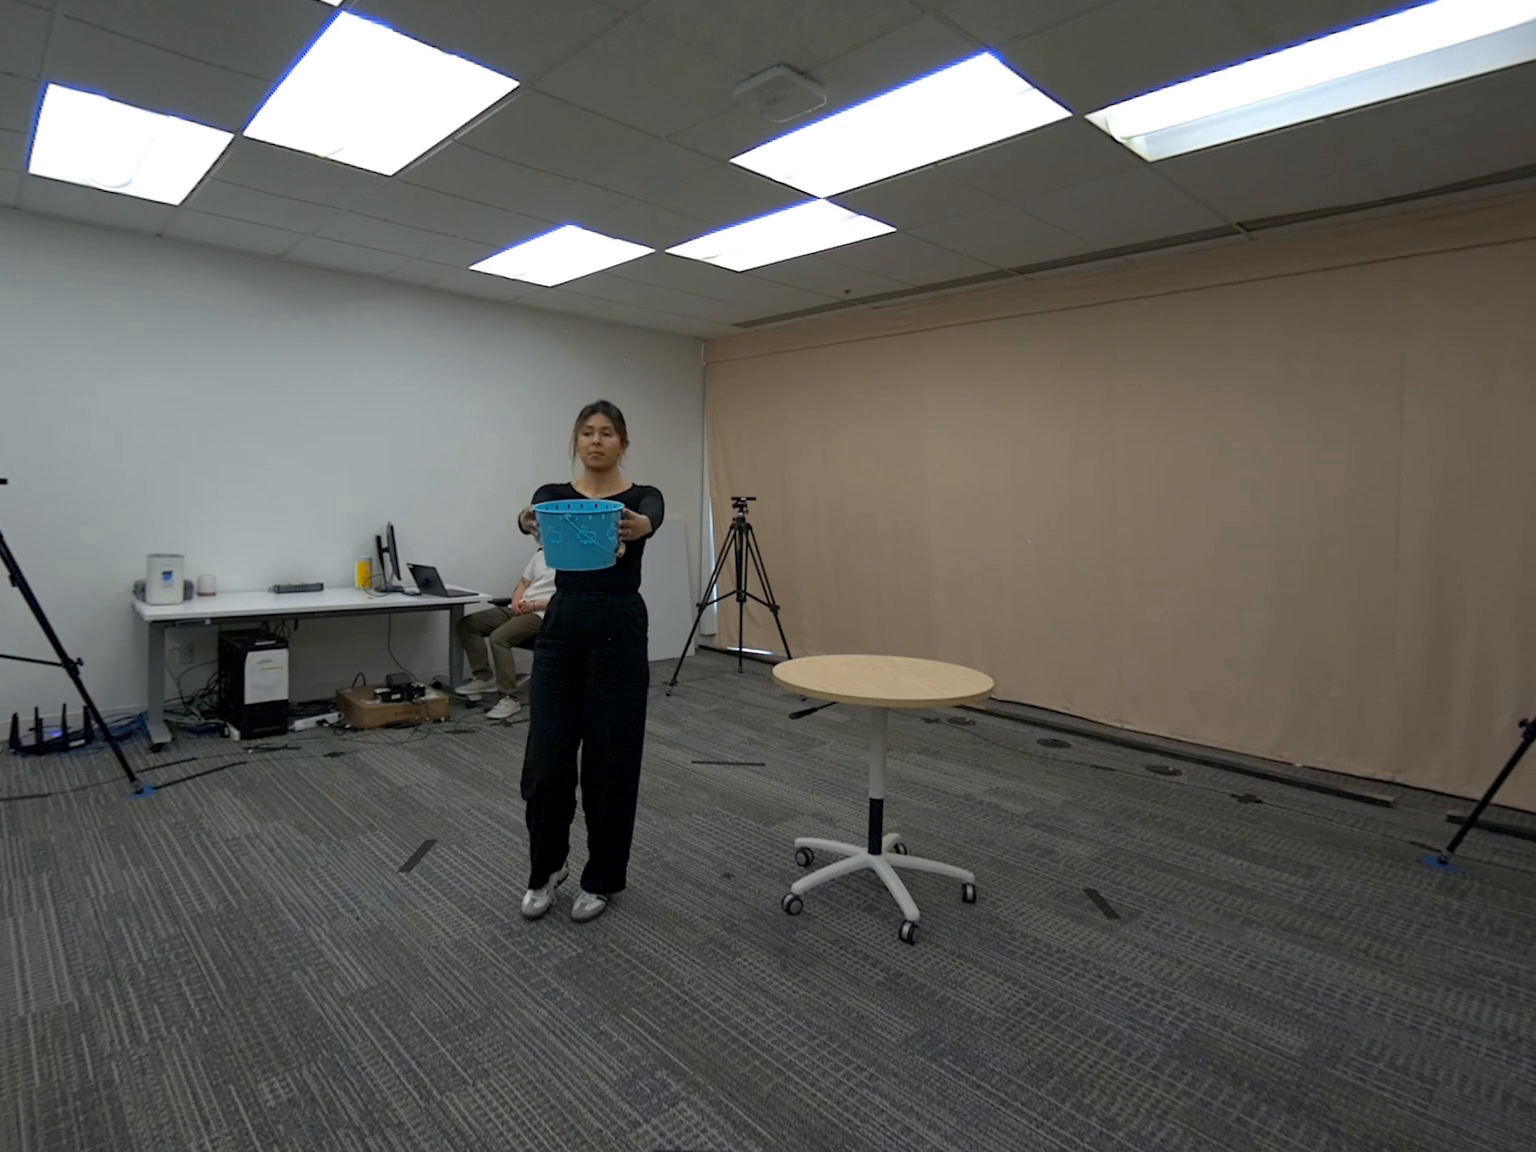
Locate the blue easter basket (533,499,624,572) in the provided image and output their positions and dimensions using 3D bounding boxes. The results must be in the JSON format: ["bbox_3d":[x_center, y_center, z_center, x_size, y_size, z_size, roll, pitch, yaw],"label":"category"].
[{"bbox_3d":[-0.486,-0.104,2.163,0.243,0.155,0.245,2,11,-2],"label":"blue easter basket"}]
